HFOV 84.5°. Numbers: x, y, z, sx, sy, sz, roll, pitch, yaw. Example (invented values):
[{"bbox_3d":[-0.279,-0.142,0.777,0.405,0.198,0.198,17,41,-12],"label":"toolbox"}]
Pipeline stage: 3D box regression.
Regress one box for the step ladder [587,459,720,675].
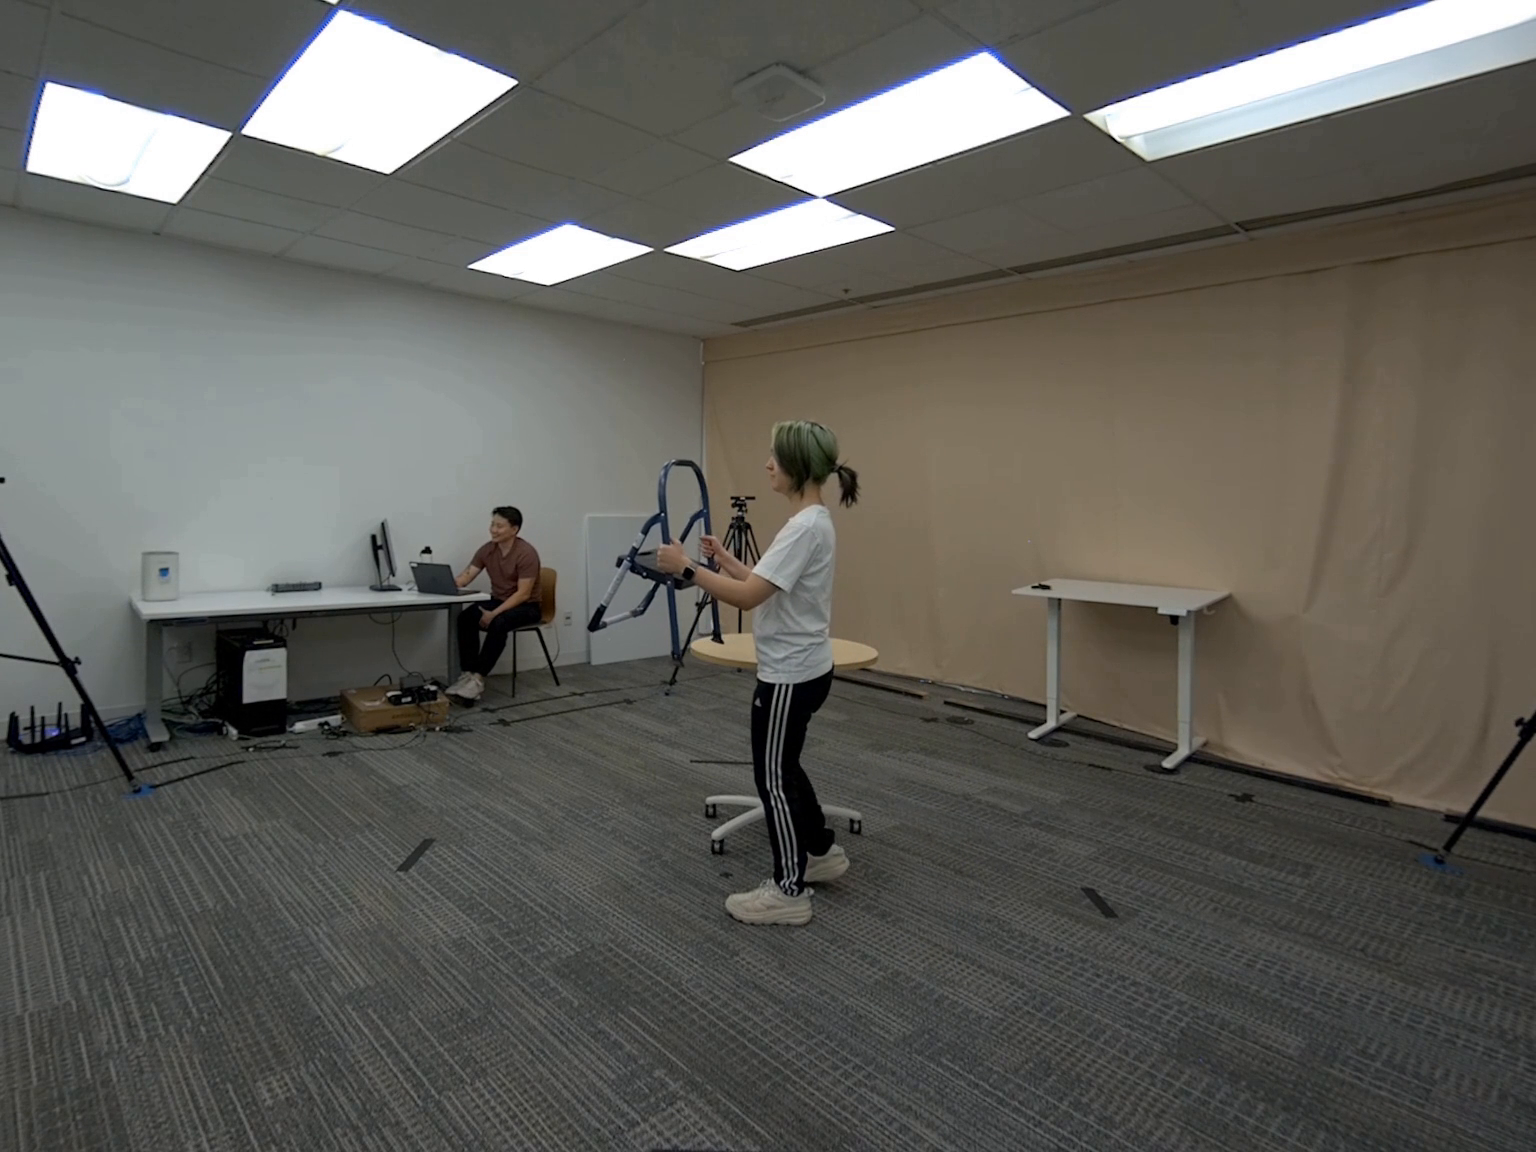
[{"bbox_3d":[-0.303,-0.076,2.834,0.354,0.603,0.426,16,9,15],"label":"step ladder"}]
